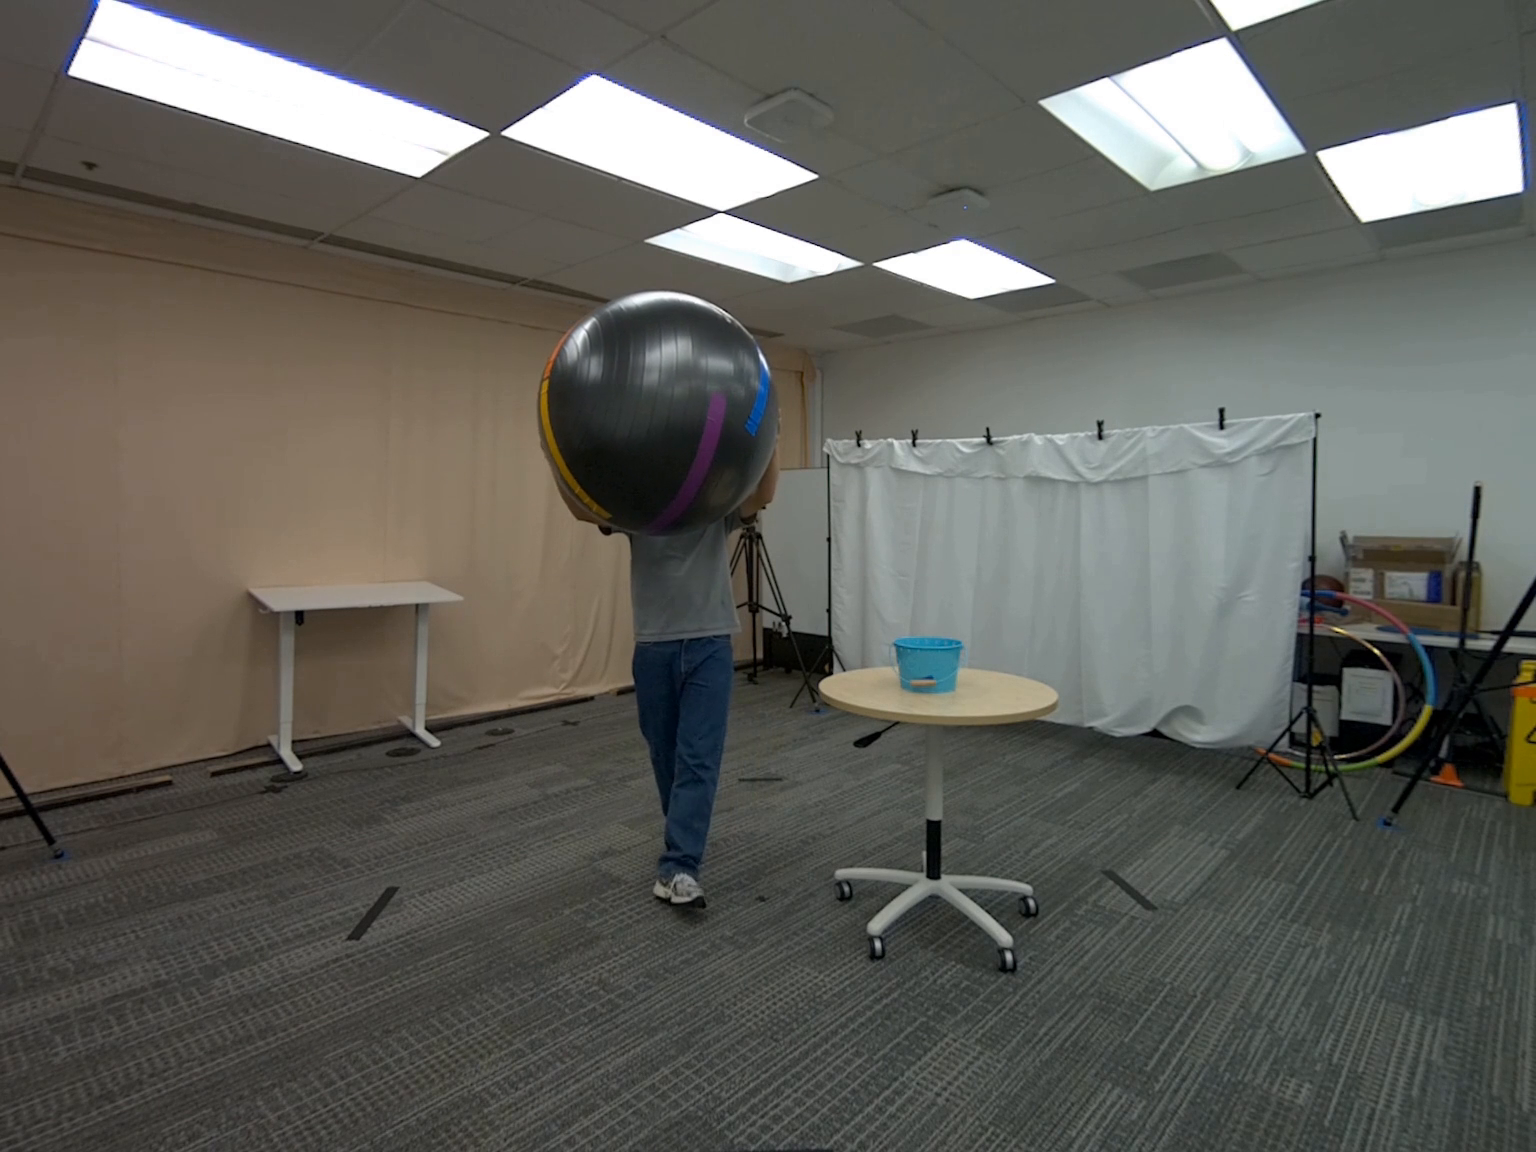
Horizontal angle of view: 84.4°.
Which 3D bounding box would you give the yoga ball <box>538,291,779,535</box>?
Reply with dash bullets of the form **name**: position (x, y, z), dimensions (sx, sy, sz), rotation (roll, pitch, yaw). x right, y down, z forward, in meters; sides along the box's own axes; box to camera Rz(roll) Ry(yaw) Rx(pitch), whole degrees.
- **yoga ball**: position (-0.343, -0.507, 2.664), dimensions (0.757, 0.756, 0.760), rotation (0, 4, -2)
